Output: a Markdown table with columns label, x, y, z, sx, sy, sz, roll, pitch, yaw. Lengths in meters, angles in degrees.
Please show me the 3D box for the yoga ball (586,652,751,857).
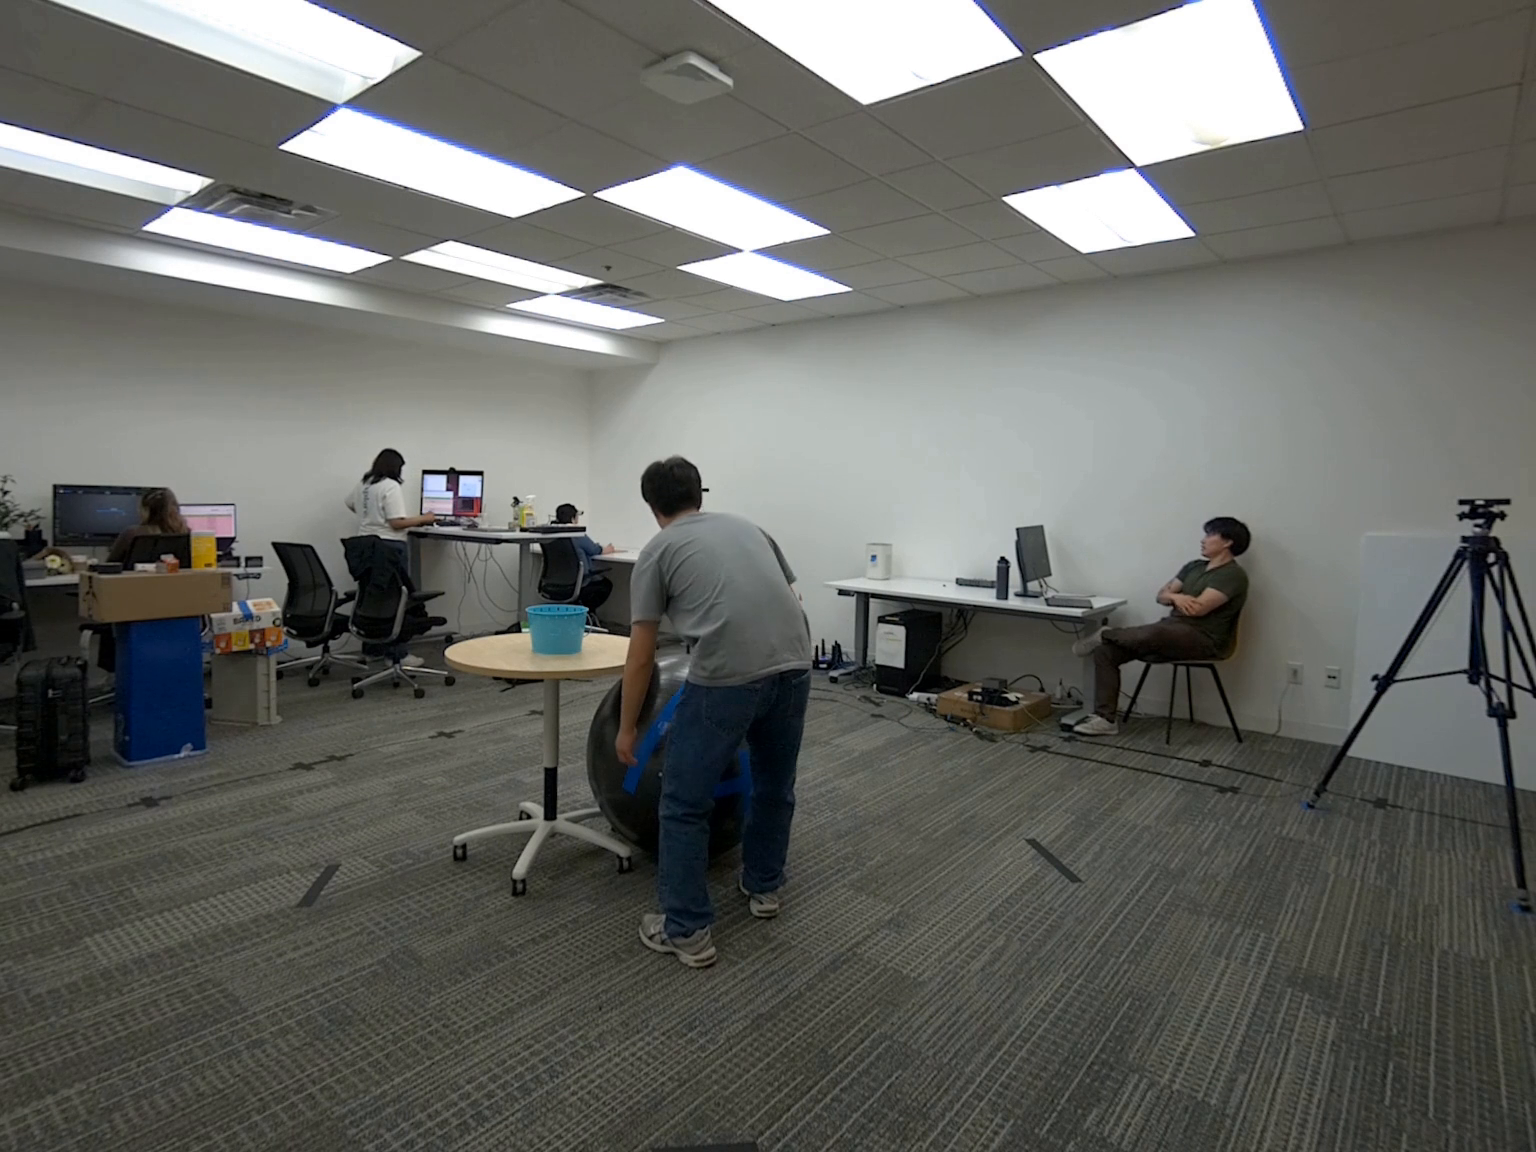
| label | x | y | z | sx | sy | sz | roll | pitch | yaw |
| --- | --- | --- | --- | --- | --- | --- | --- | --- | --- |
| yoga ball | -0.327 | 0.679 | 3.264 | 0.757 | 0.755 | 0.762 | 1 | 4 | -2 |
